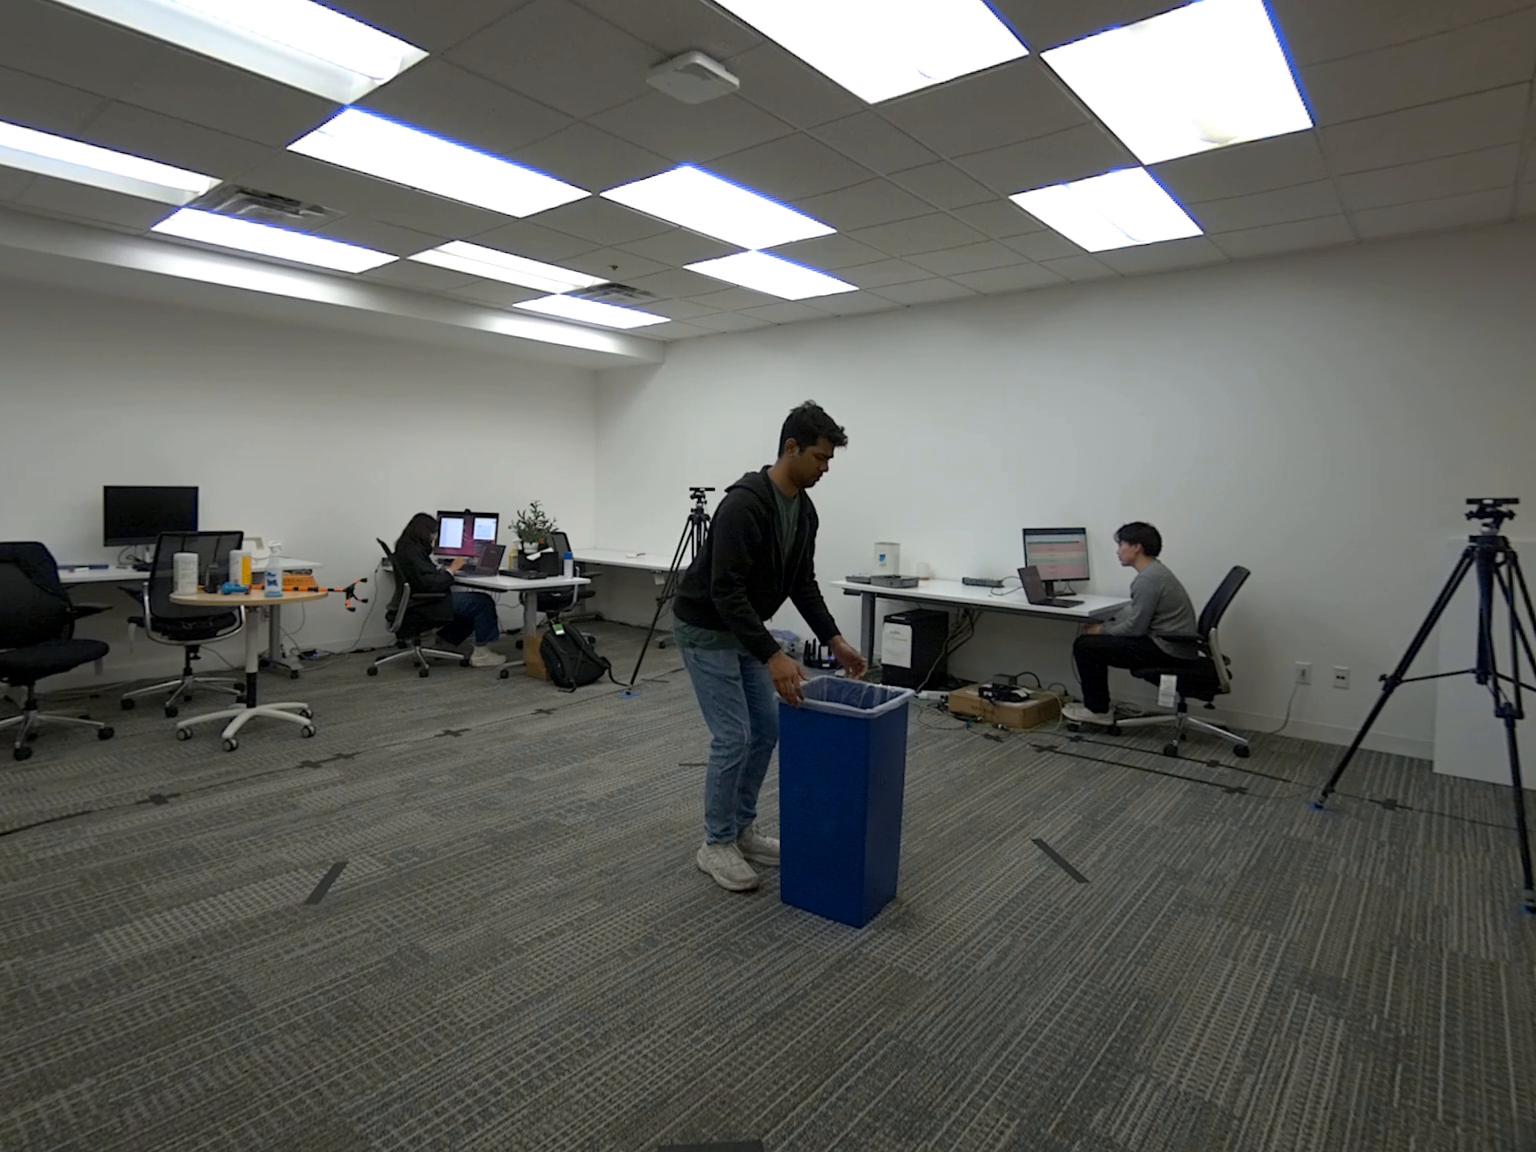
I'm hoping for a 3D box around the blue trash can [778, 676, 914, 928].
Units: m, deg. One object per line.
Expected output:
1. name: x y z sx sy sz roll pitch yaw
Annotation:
1. blue trash can: 0.243 0.743 2.875 0.390 0.711 0.364 3 4 32
